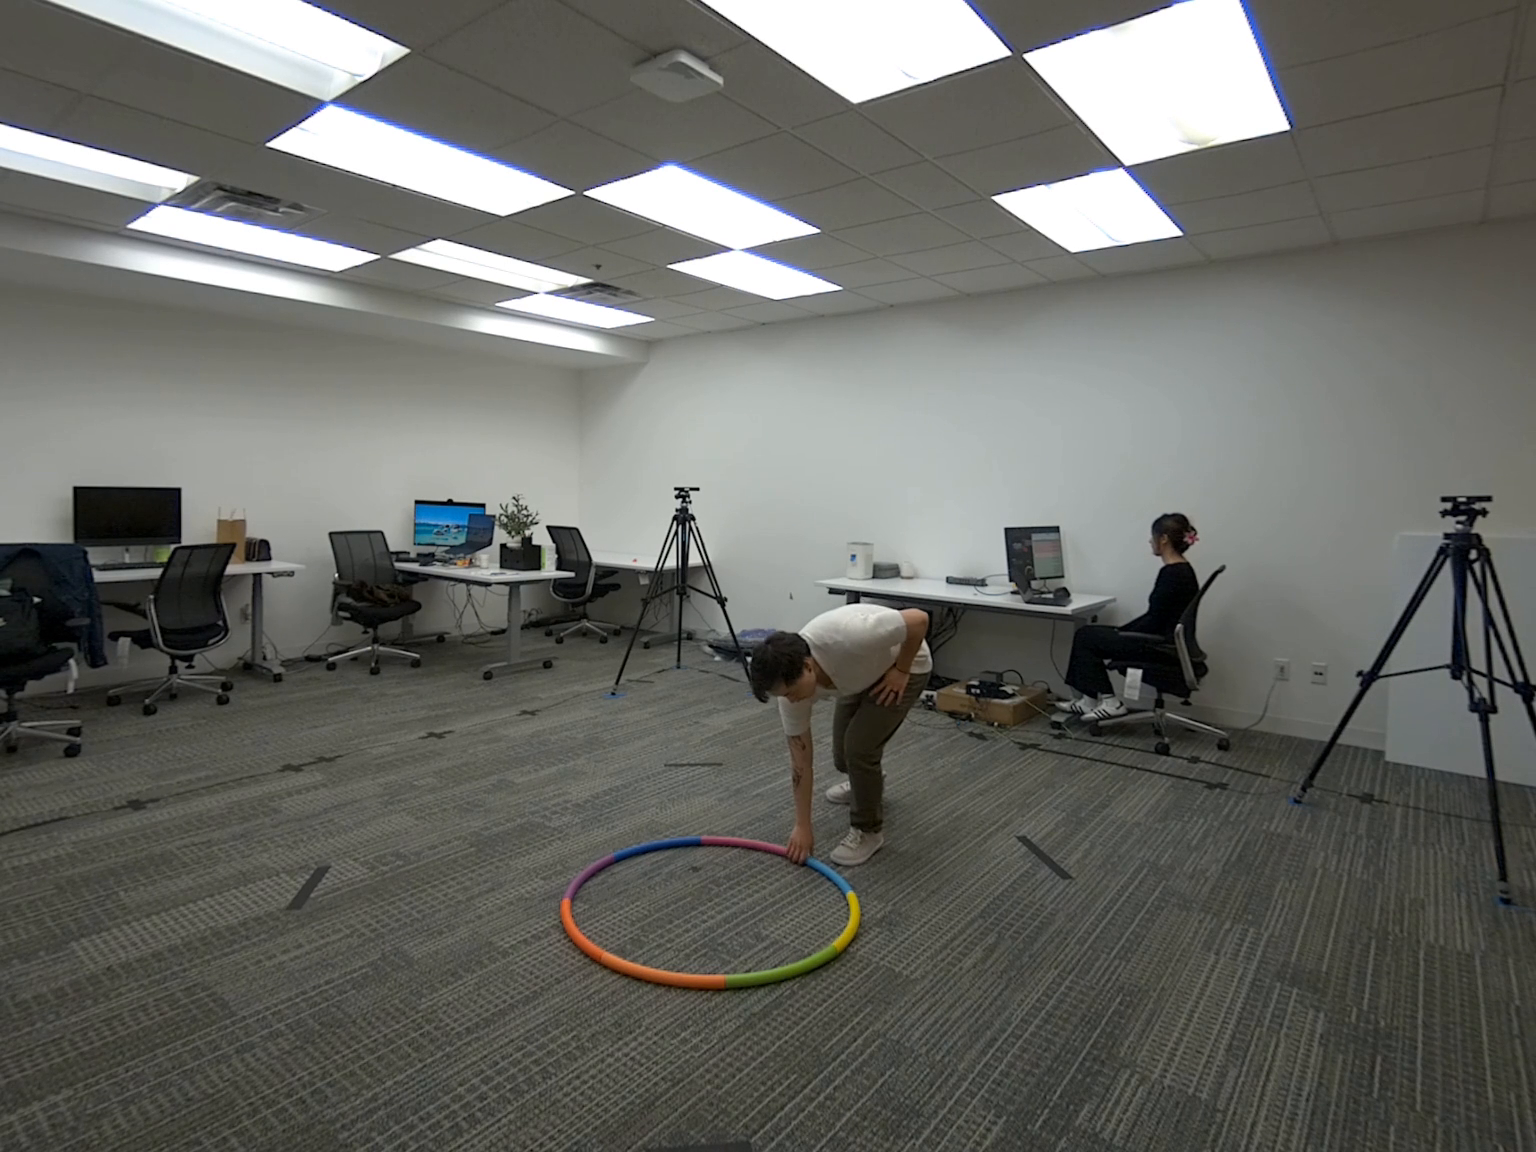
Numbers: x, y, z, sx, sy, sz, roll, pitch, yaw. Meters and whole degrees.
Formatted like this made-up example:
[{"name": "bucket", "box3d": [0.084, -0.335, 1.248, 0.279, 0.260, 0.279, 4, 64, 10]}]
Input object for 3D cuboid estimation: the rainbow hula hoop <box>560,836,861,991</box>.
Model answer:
[{"name": "rainbow hula hoop", "box3d": [-0.198, 1.062, 2.839, 0.978, 0.035, 0.984, 1, 6, -2]}]
